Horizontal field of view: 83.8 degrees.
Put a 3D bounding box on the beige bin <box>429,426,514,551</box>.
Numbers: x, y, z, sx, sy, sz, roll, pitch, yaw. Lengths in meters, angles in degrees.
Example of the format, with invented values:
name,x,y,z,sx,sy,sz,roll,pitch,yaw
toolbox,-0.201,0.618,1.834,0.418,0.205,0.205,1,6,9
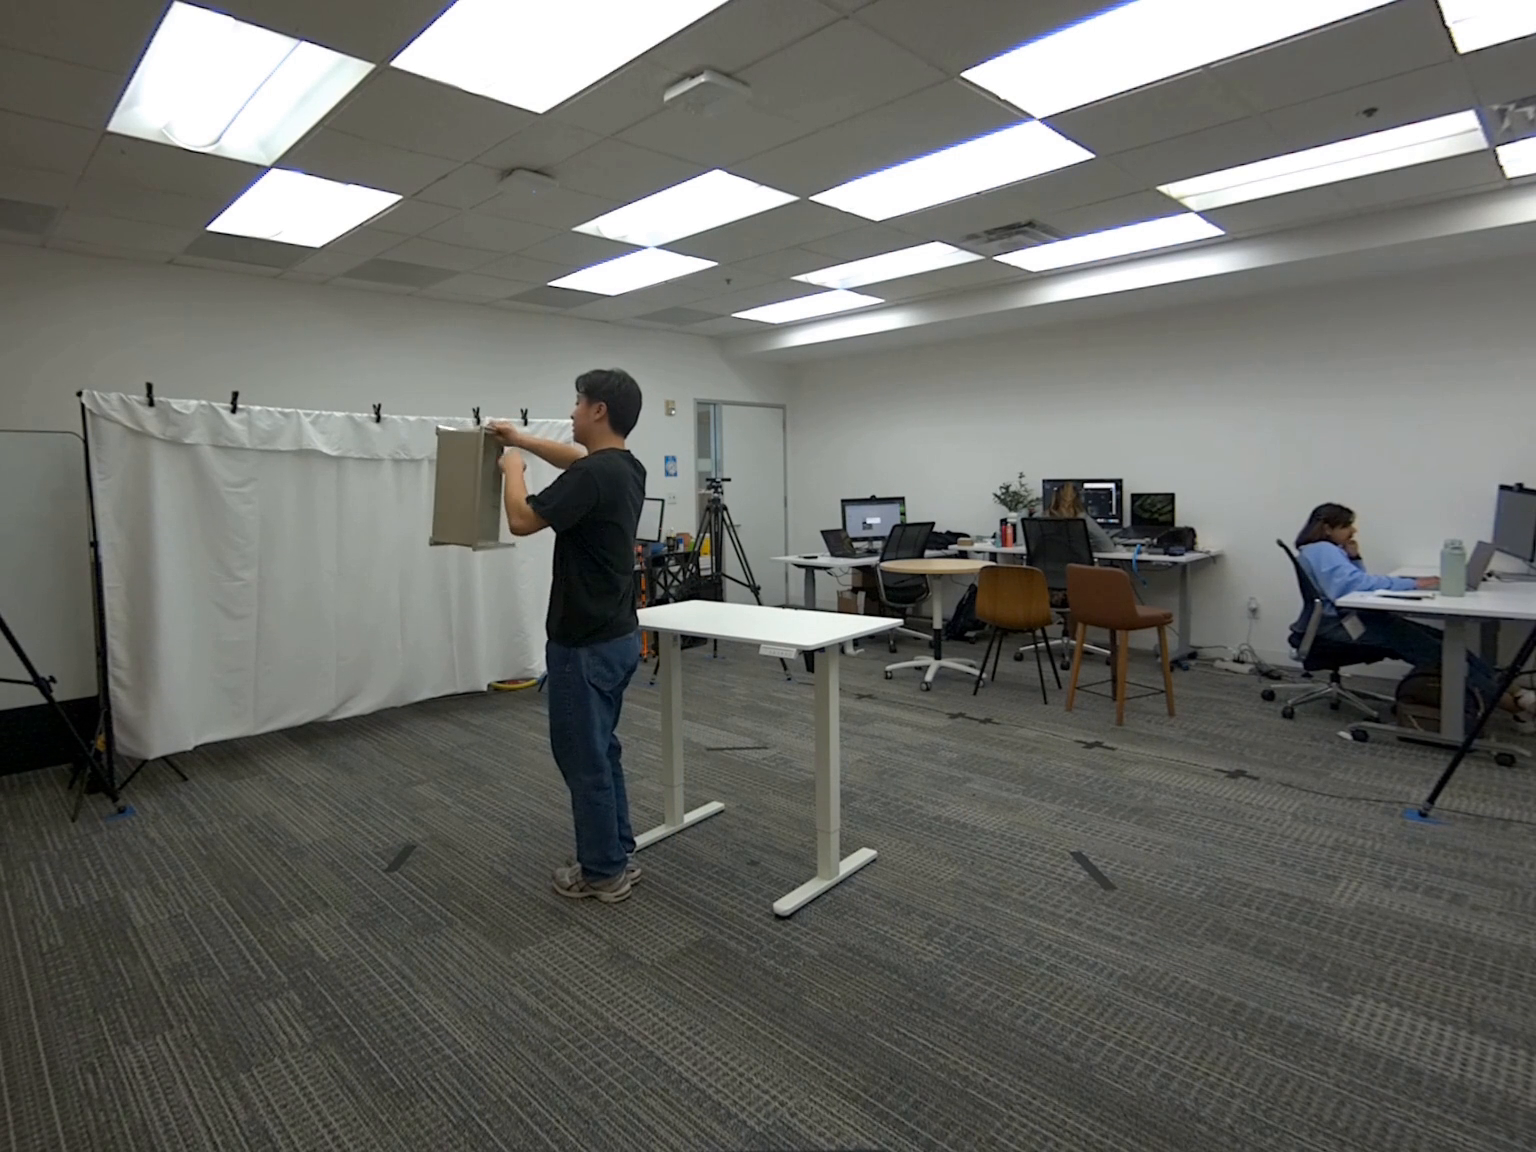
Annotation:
name,x,y,z,sx,sy,sz,roll,pitch,yaw
beige bin,-1.022,-0.314,3.057,0.191,0.421,0.374,6,4,10
